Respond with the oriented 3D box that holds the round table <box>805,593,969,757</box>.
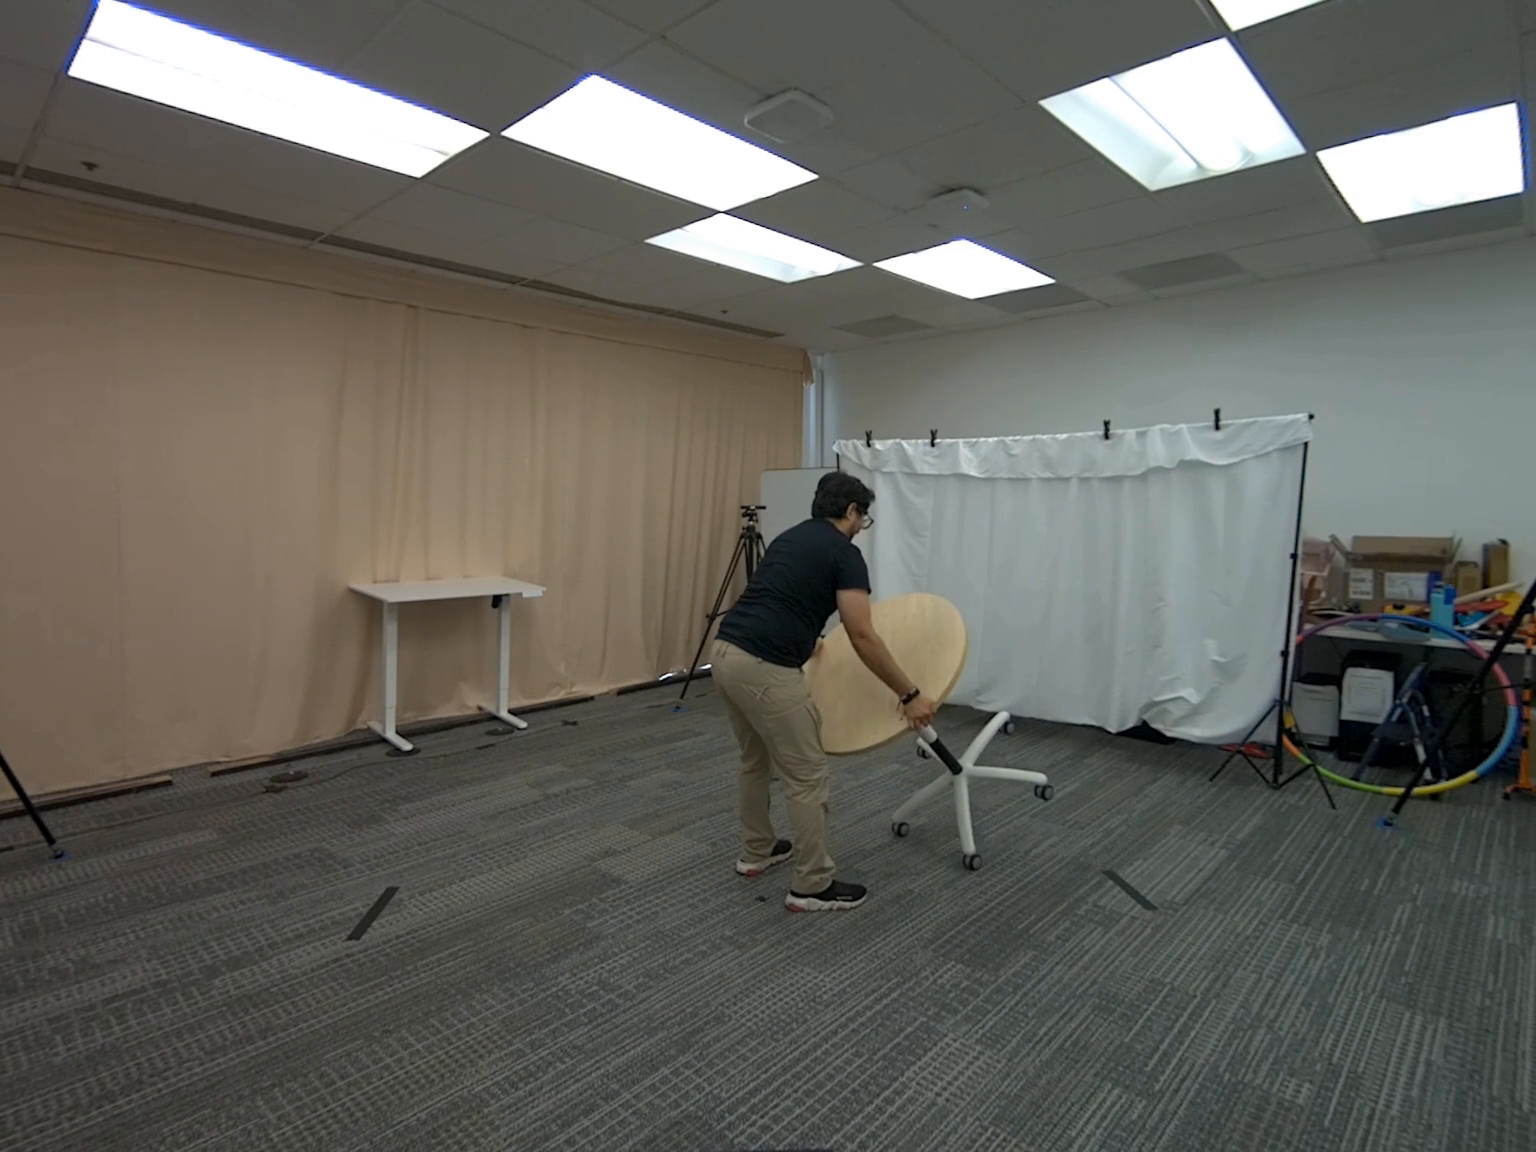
[{"bbox_3d":[0.644,0.621,3.337,0.792,0.766,0.798,-33,26,16],"label":"round table"}]
